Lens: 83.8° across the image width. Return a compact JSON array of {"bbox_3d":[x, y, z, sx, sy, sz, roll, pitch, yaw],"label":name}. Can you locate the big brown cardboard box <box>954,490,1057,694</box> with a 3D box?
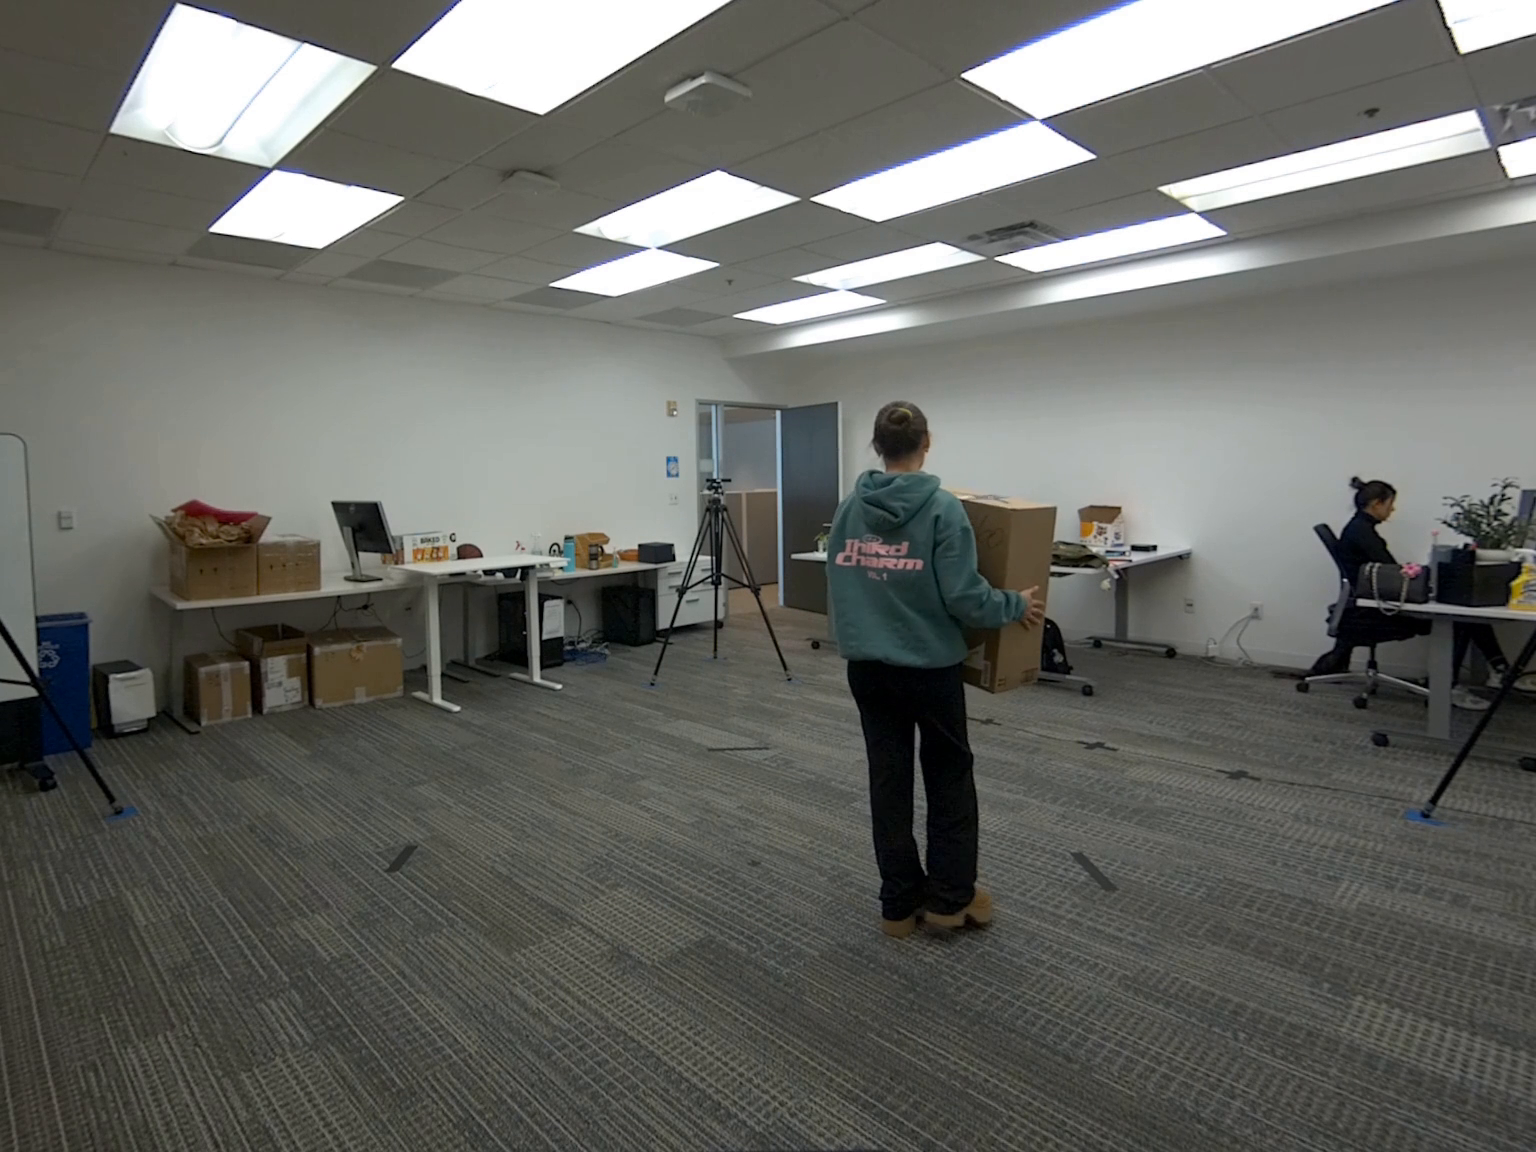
[{"bbox_3d":[0.657,0.030,2.750,0.227,0.584,0.432,-3,11,-36],"label":"big brown cardboard box"}]
